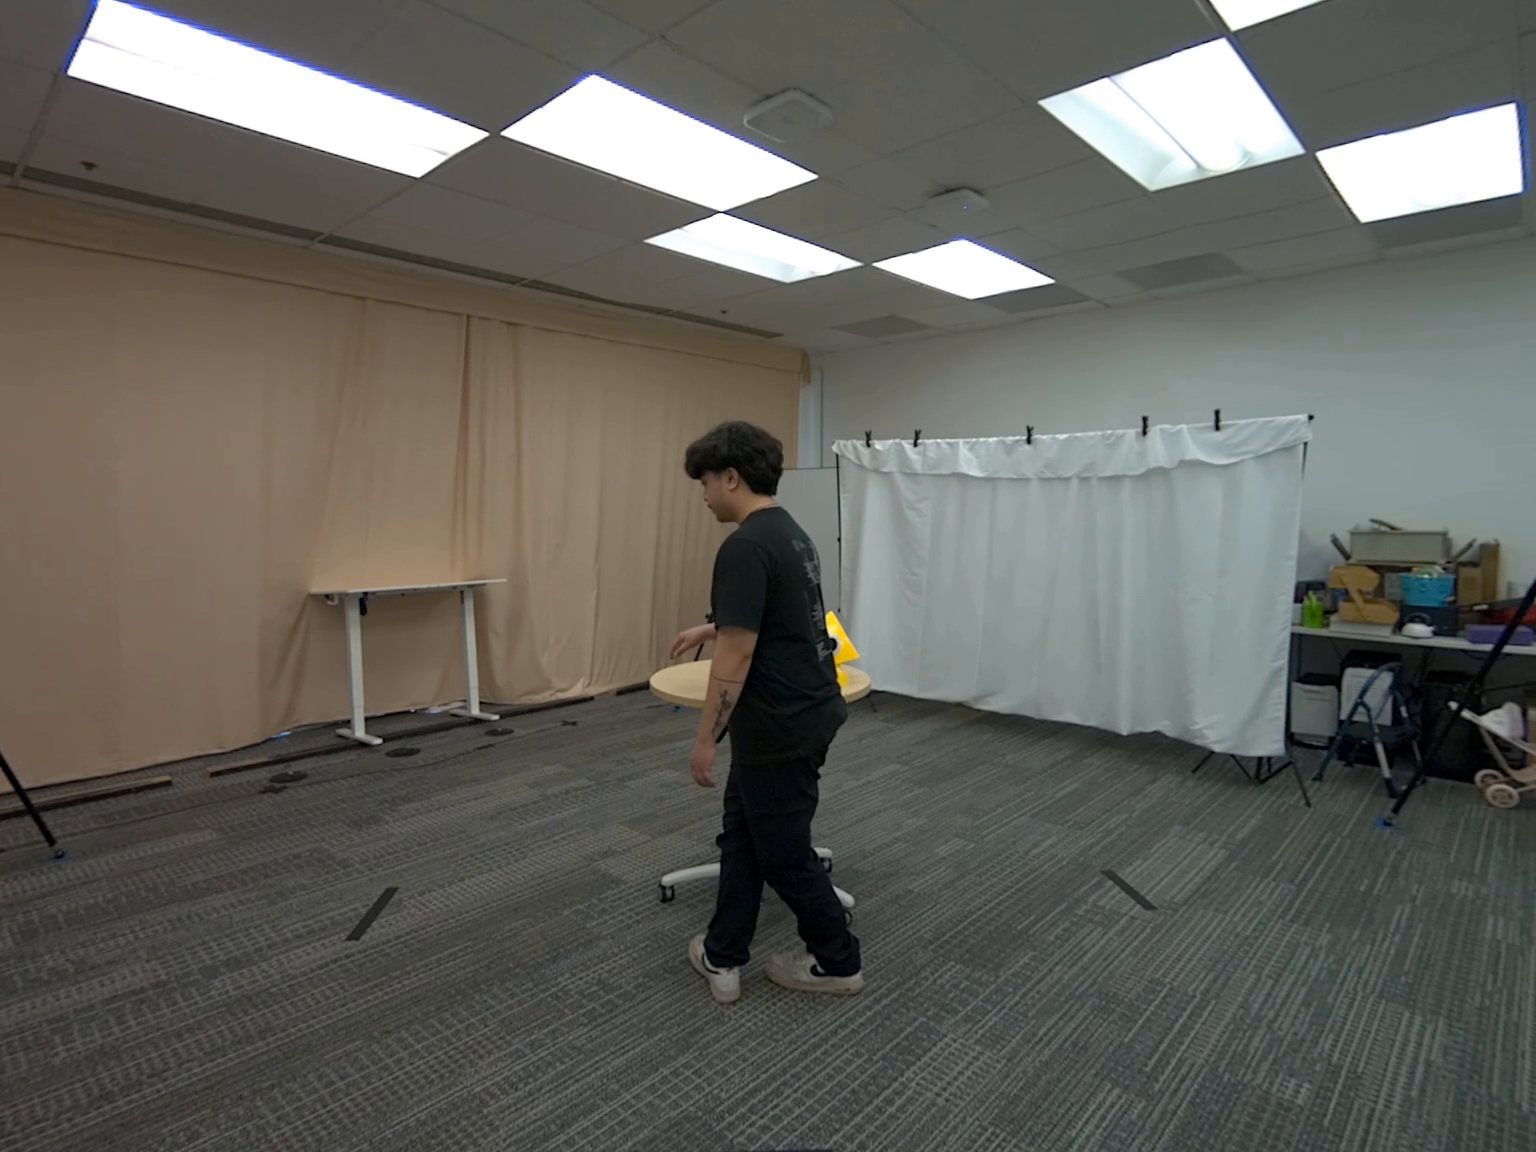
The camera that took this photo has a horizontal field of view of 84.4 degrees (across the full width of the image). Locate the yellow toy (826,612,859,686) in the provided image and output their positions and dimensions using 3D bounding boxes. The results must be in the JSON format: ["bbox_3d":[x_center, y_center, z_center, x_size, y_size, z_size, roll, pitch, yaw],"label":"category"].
[{"bbox_3d":[0.185,0.242,2.876,0.187,0.230,0.211,-4,6,-40],"label":"yellow toy"}]
